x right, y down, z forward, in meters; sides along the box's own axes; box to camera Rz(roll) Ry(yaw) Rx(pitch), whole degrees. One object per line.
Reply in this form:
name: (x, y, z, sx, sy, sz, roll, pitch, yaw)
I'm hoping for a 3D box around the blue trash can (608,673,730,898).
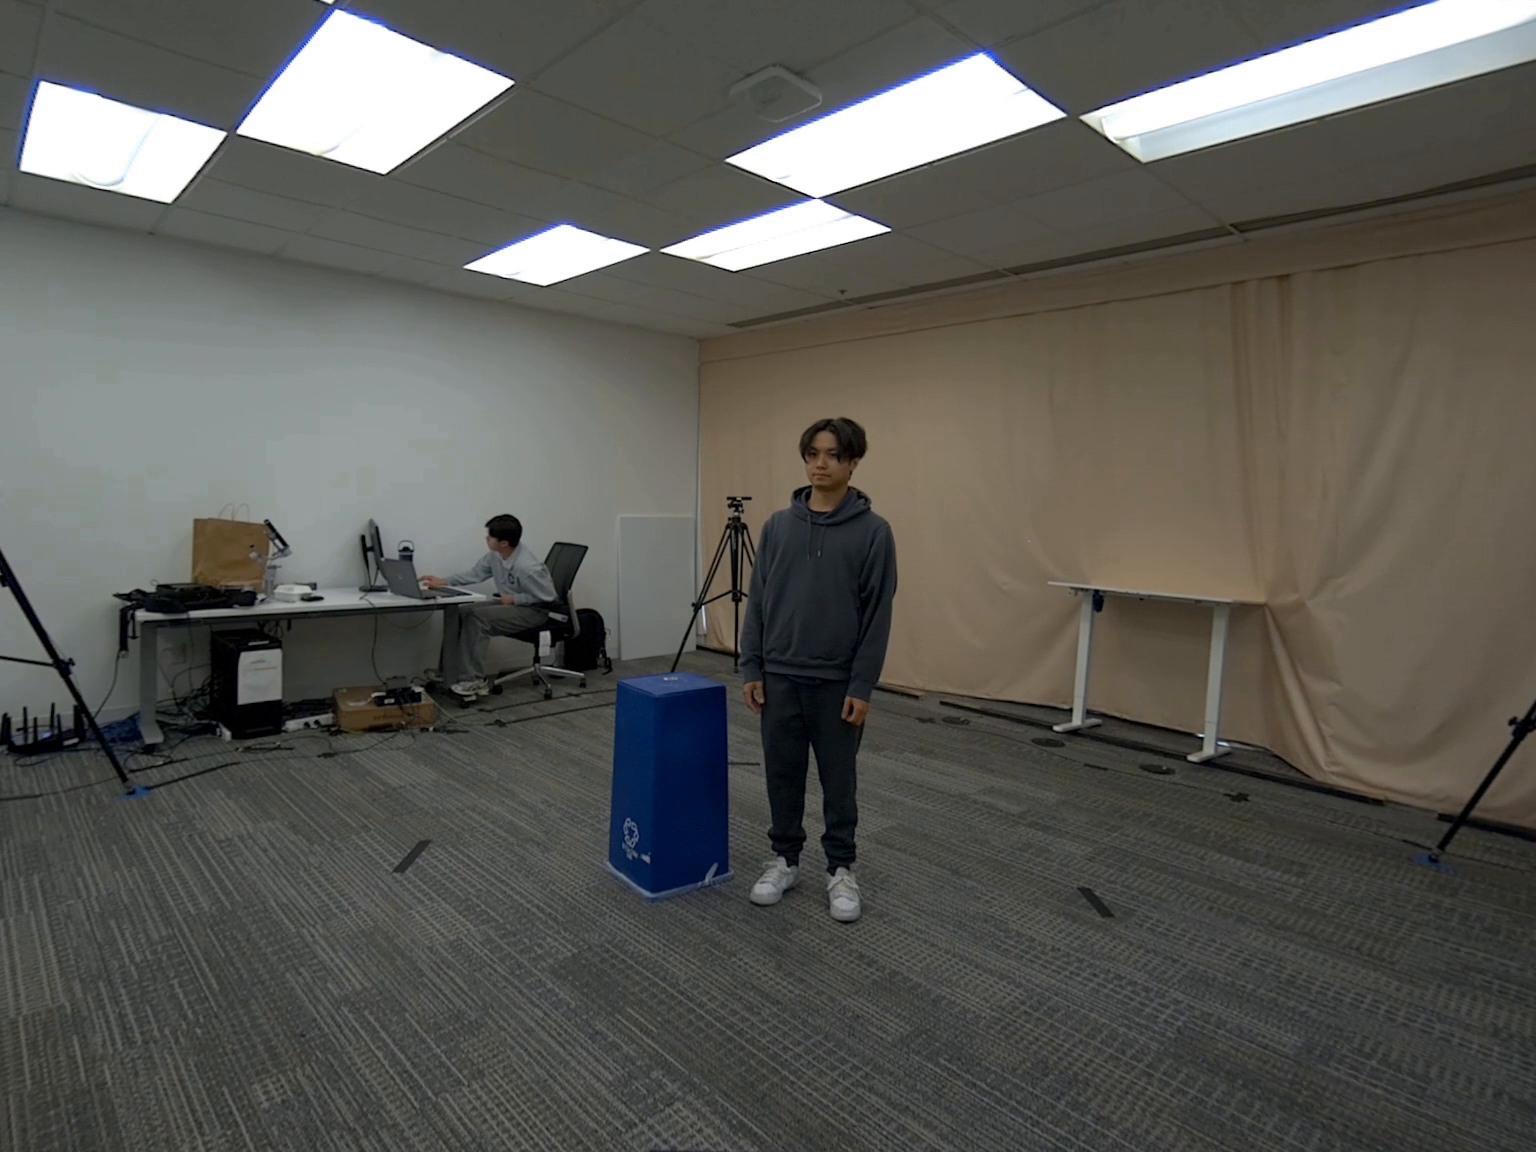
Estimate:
blue trash can: (-0.371, 0.745, 3.120, 0.369, 0.712, 0.383, -1, 3, -37)
